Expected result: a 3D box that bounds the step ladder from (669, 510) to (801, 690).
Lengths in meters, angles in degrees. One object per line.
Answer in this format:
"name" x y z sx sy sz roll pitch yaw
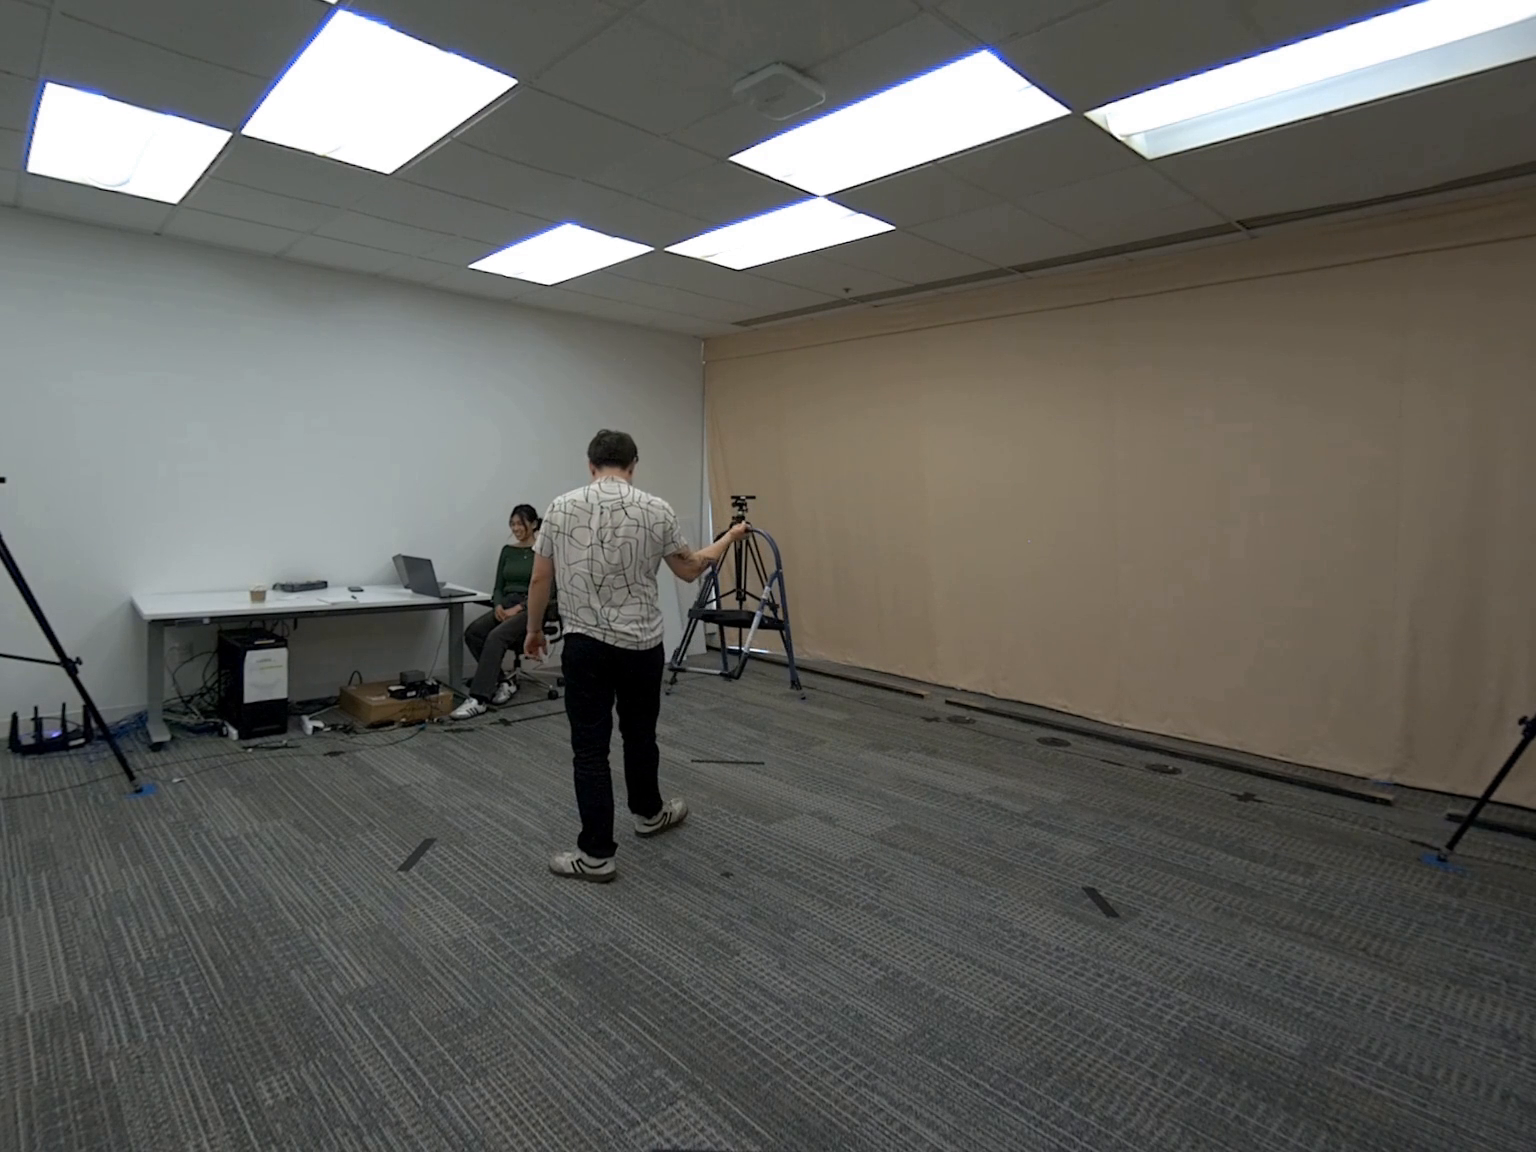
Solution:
"step ladder" -0.104 0.121 3.400 0.440 0.610 0.339 -3 -15 45
